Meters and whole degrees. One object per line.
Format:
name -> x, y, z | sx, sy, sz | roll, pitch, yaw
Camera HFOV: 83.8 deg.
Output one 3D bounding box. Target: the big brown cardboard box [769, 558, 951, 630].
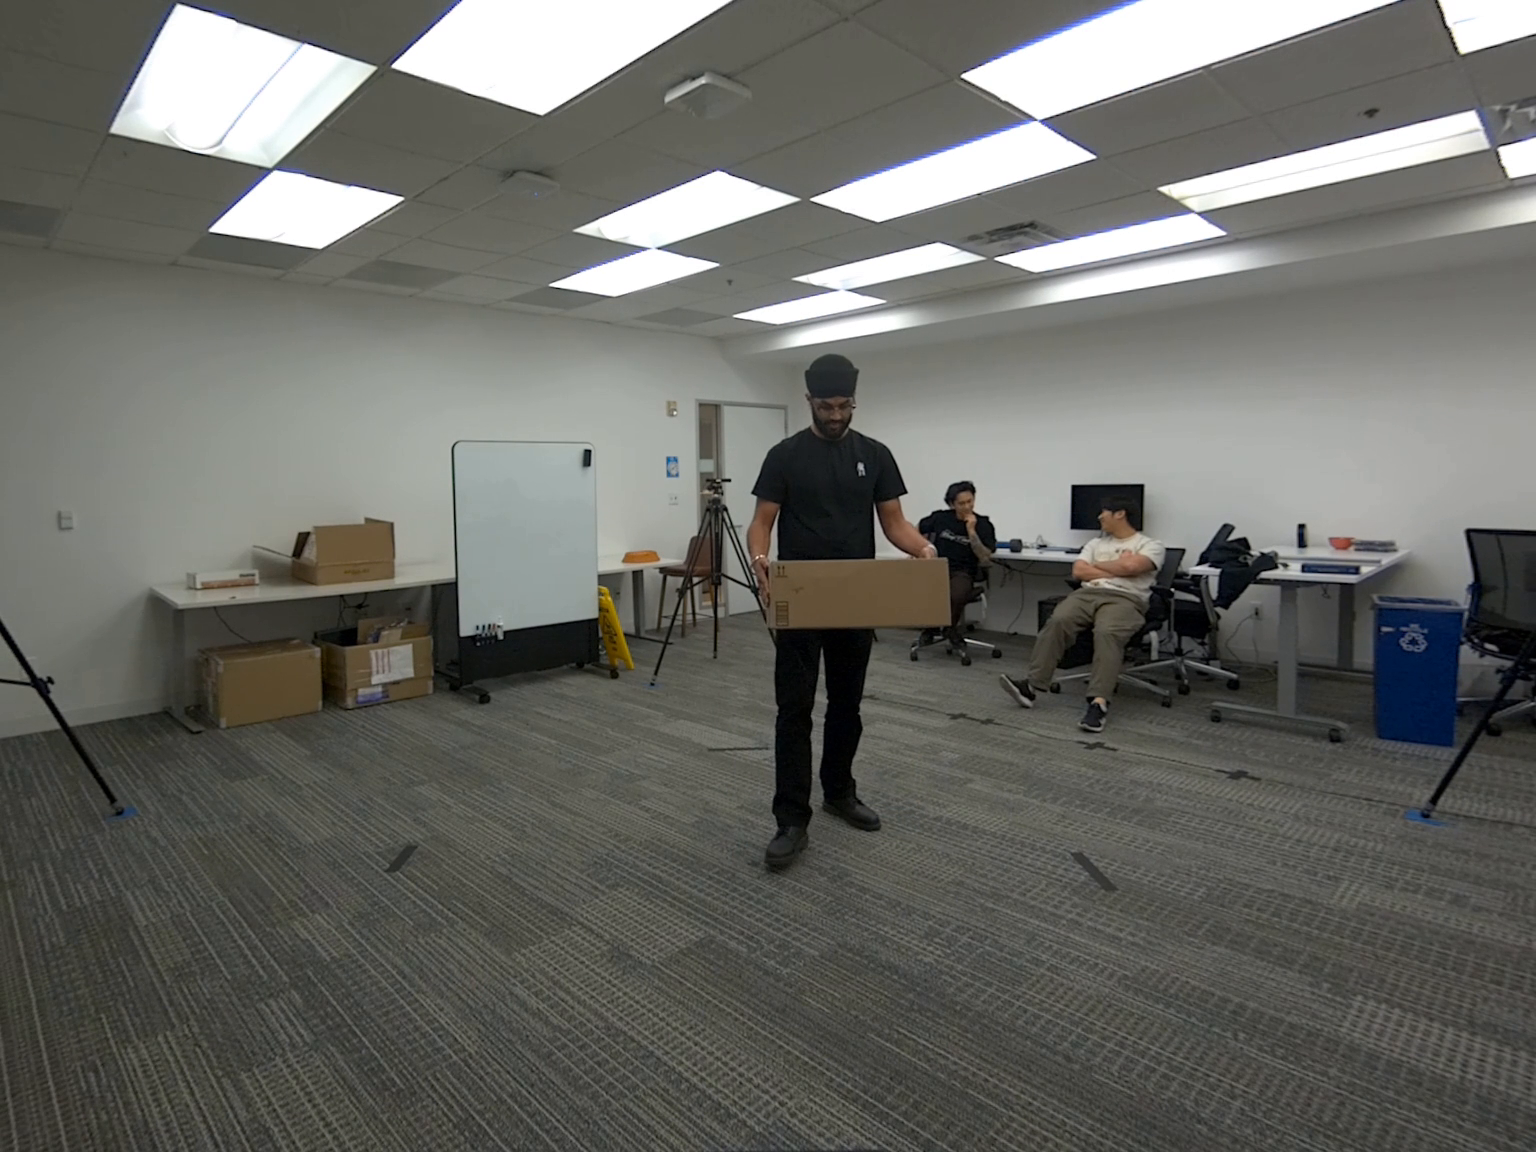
big brown cardboard box -> 0.285, 0.066, 2.898 | 0.588, 0.234, 0.417 | -2, -2, -2
